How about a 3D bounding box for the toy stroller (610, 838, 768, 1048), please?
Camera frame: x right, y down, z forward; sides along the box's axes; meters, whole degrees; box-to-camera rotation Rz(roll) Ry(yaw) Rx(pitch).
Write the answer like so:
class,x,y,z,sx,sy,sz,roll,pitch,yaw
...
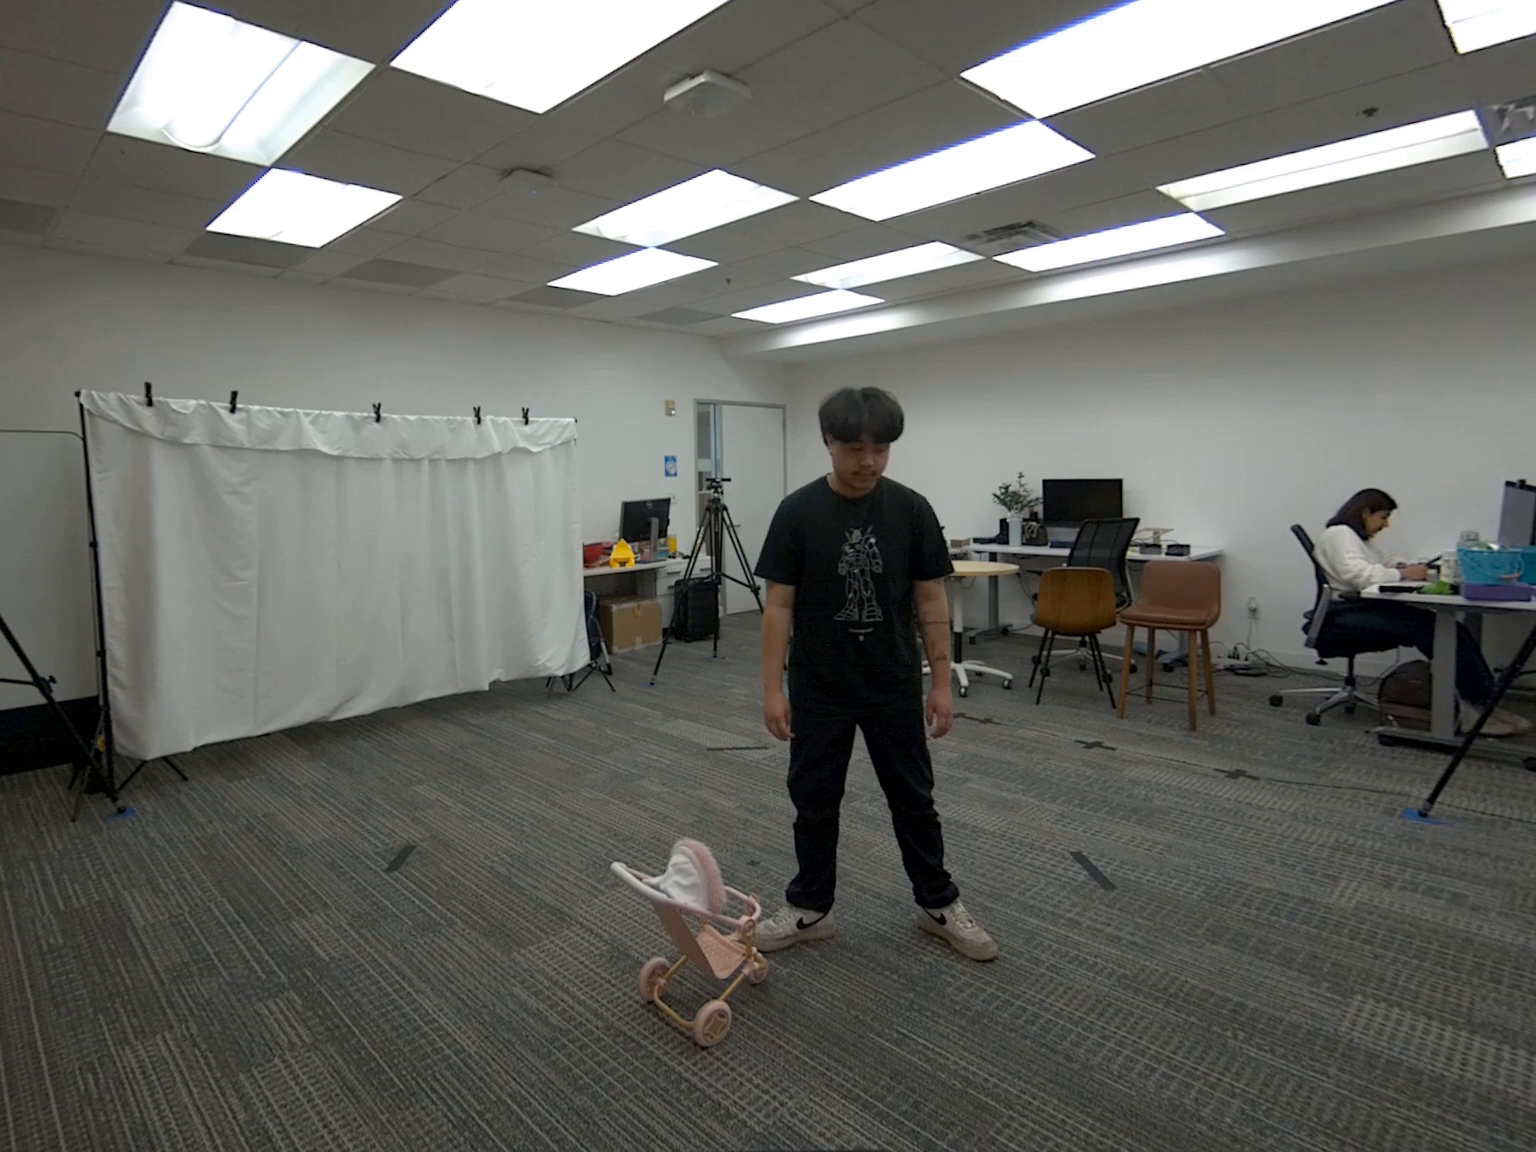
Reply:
class,x,y,z,sx,sy,sz,roll,pitch,yaw
toy stroller,-0.169,0.930,2.235,0.336,0.527,0.290,-22,16,-33
